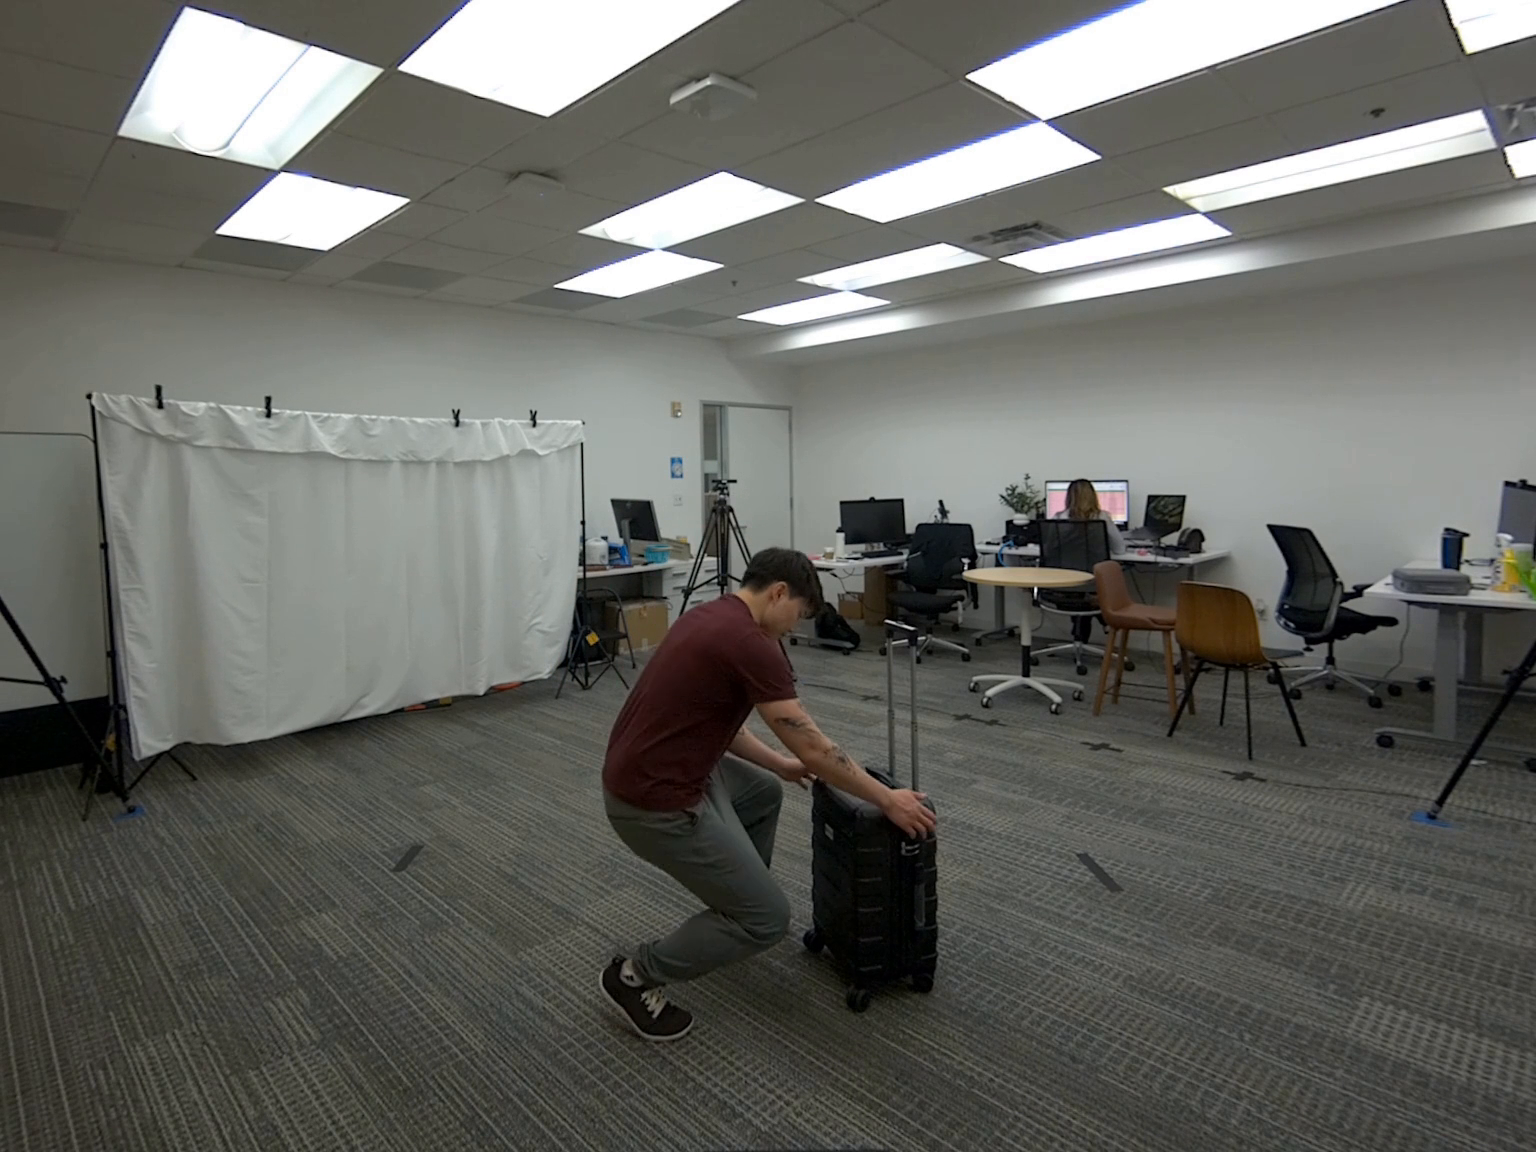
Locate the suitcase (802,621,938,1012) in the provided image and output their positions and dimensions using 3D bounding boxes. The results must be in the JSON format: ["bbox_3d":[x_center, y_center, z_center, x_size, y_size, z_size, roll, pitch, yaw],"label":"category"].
[{"bbox_3d":[0.297,0.640,2.407,0.253,0.976,0.390,-2,3,-16],"label":"suitcase"}]
